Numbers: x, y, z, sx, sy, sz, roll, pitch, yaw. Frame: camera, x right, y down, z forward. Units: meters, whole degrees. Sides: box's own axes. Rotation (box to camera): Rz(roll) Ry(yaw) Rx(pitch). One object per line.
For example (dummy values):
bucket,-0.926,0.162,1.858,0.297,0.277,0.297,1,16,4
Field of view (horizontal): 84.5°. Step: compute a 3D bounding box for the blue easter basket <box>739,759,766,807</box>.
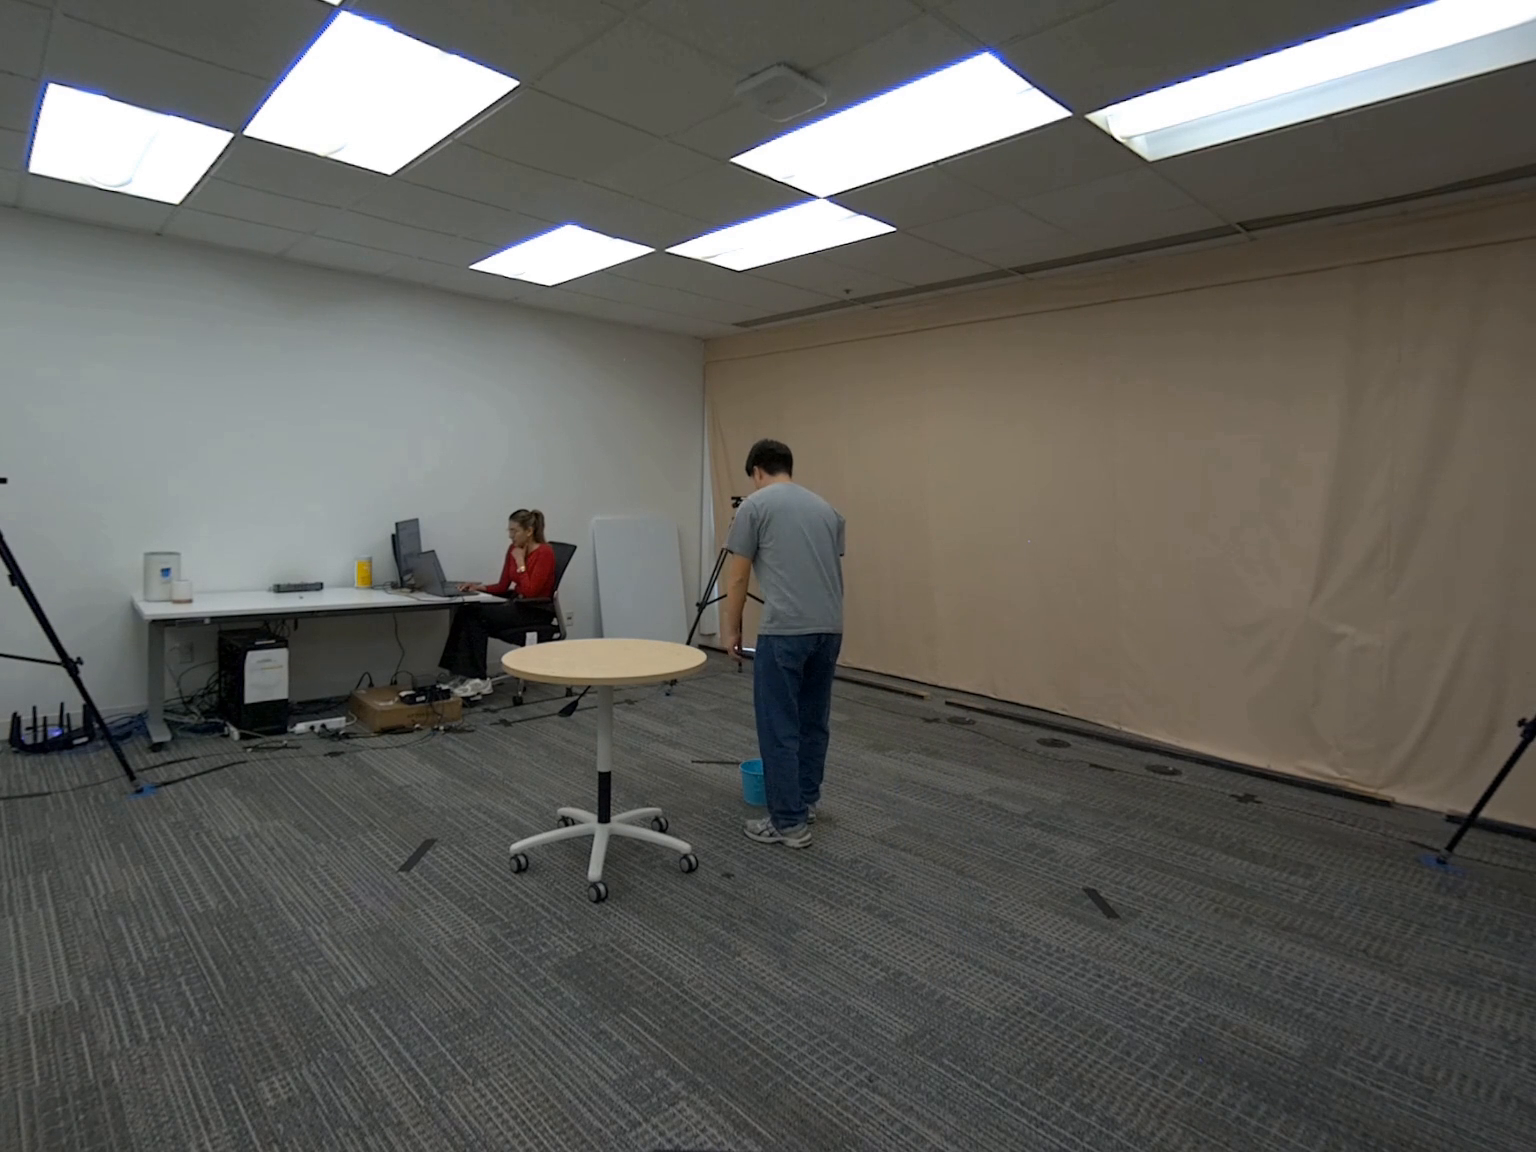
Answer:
blue easter basket,-0.021,0.962,3.919,0.243,0.155,0.244,2,4,-1
